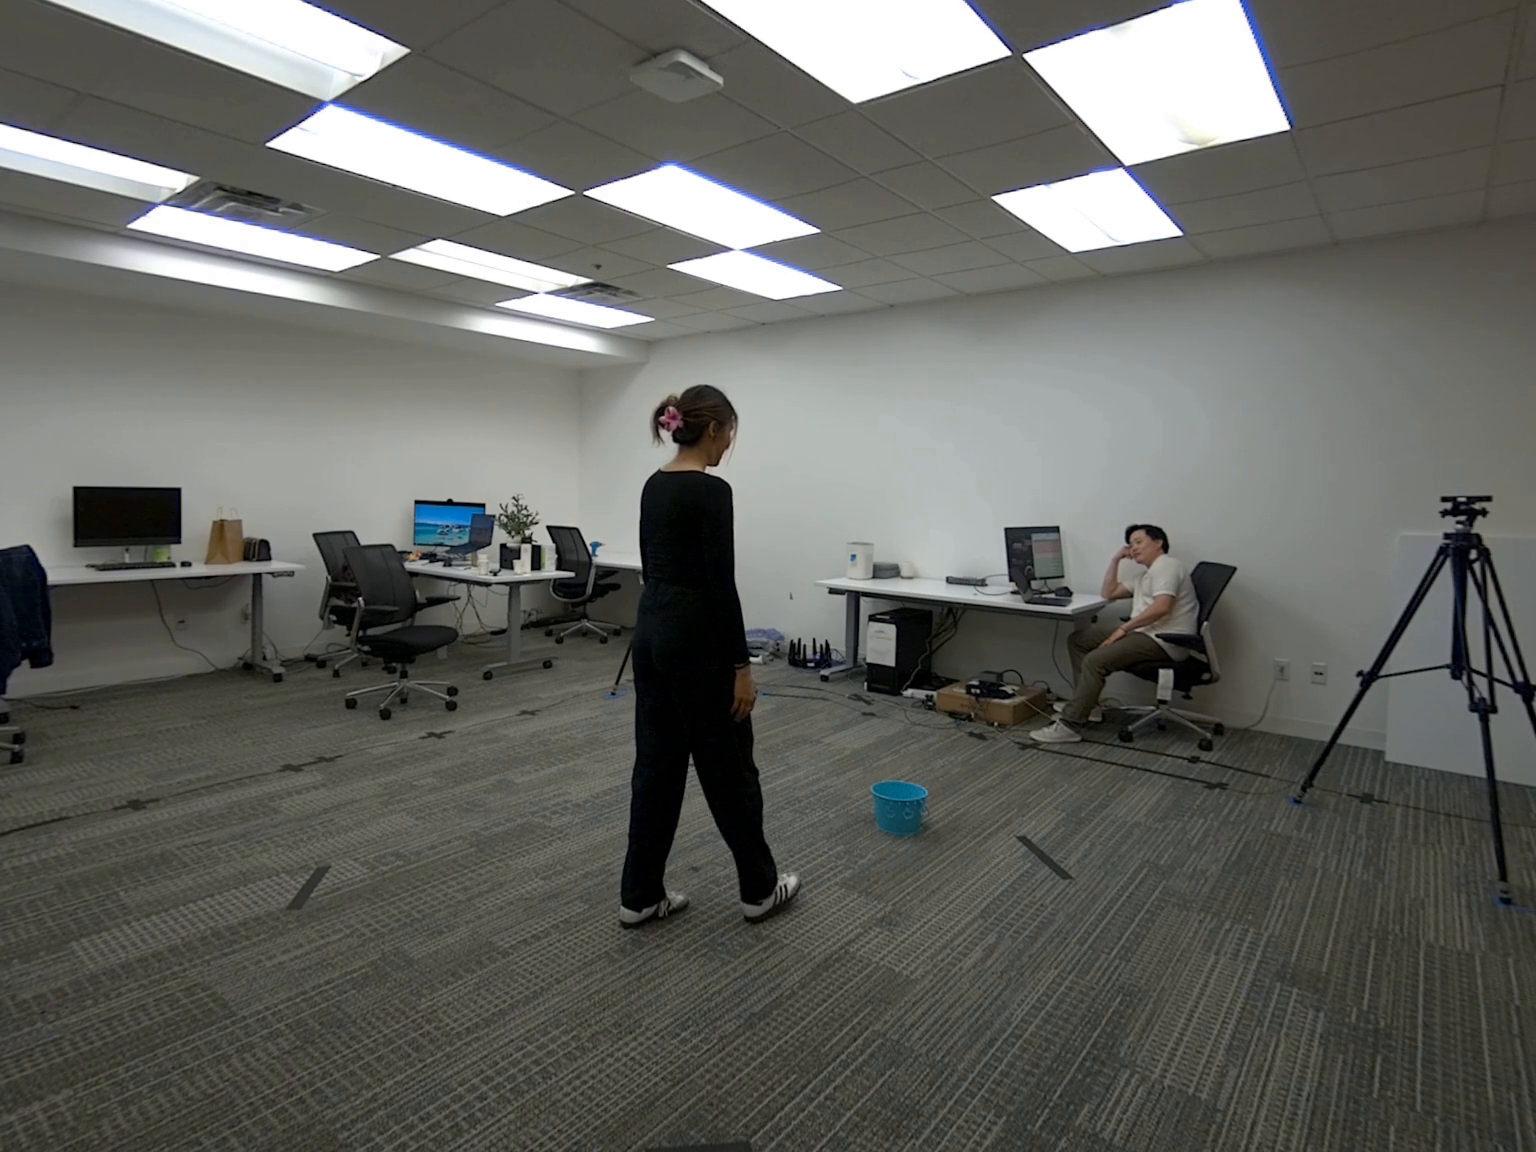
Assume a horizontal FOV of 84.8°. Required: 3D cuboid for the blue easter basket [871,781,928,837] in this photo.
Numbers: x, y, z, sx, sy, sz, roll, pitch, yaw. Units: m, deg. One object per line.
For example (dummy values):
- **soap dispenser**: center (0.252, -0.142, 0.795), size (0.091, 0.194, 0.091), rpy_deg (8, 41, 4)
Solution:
- **blue easter basket**: center (0.545, 0.962, 3.540), size (0.243, 0.155, 0.245), rpy_deg (0, 5, -2)
